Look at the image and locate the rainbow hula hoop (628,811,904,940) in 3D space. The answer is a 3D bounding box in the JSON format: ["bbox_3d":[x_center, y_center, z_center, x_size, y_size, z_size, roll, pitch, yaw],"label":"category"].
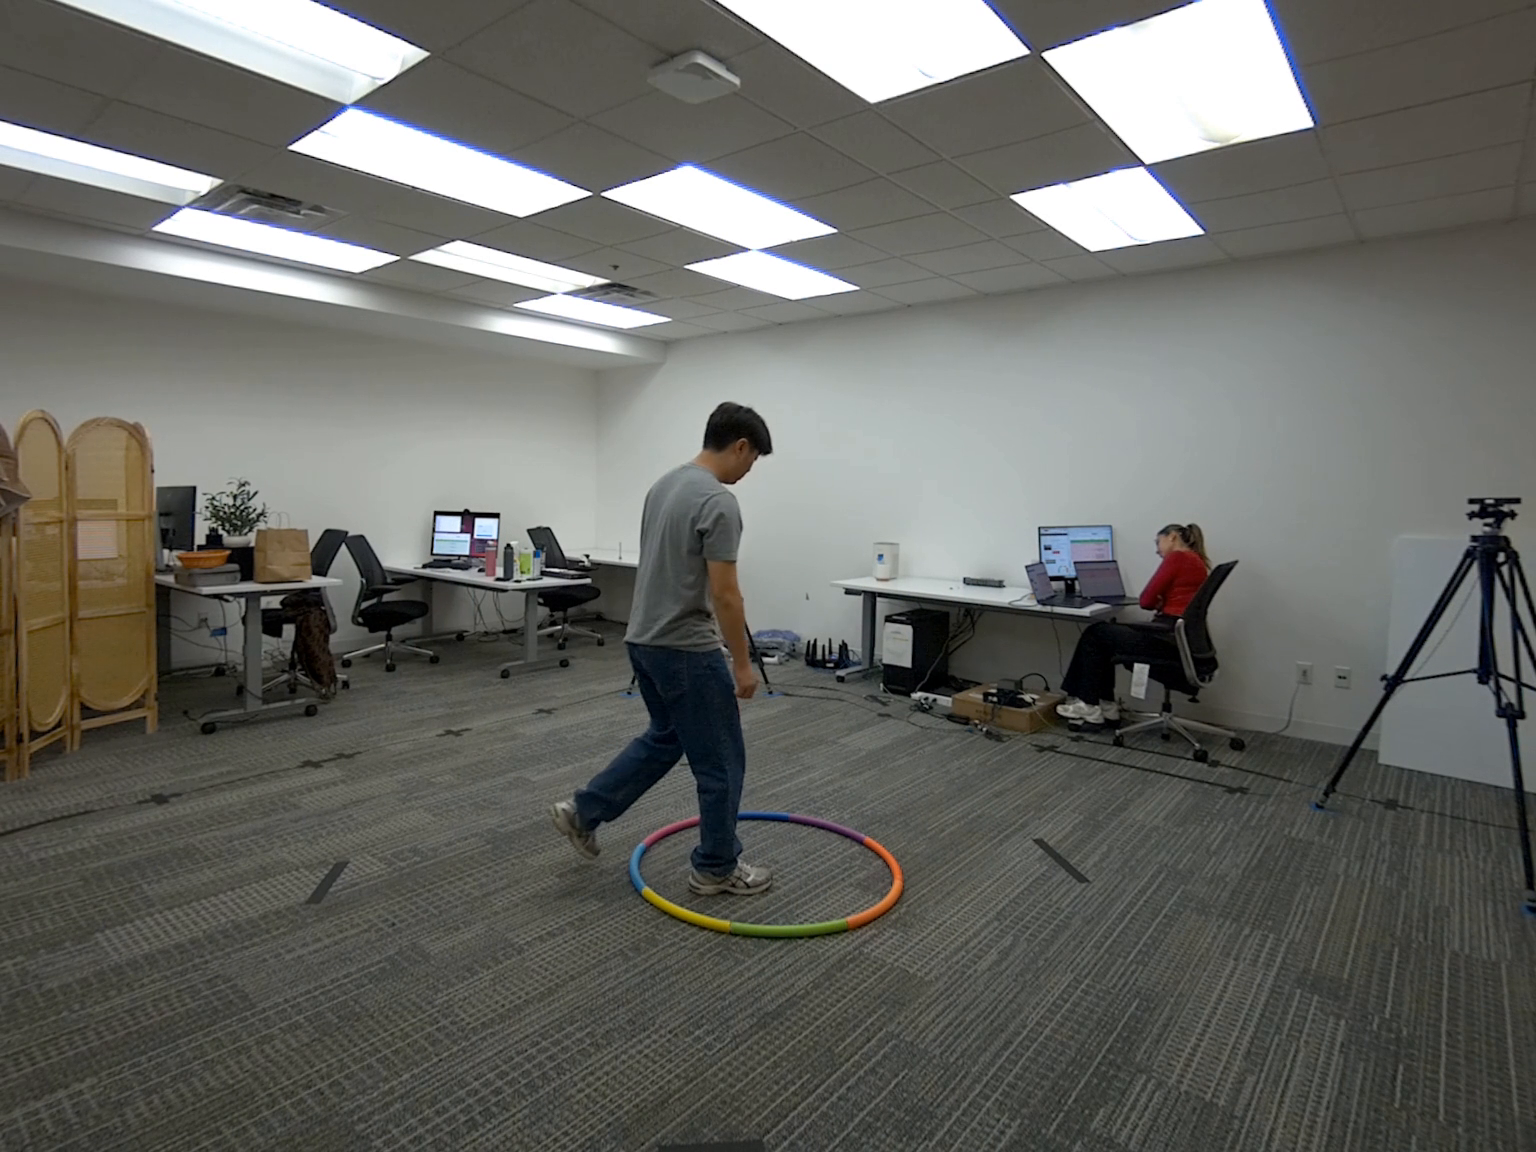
[{"bbox_3d":[-0.021,1.039,3.105,0.978,0.035,0.983,1,5,-2],"label":"rainbow hula hoop"}]
